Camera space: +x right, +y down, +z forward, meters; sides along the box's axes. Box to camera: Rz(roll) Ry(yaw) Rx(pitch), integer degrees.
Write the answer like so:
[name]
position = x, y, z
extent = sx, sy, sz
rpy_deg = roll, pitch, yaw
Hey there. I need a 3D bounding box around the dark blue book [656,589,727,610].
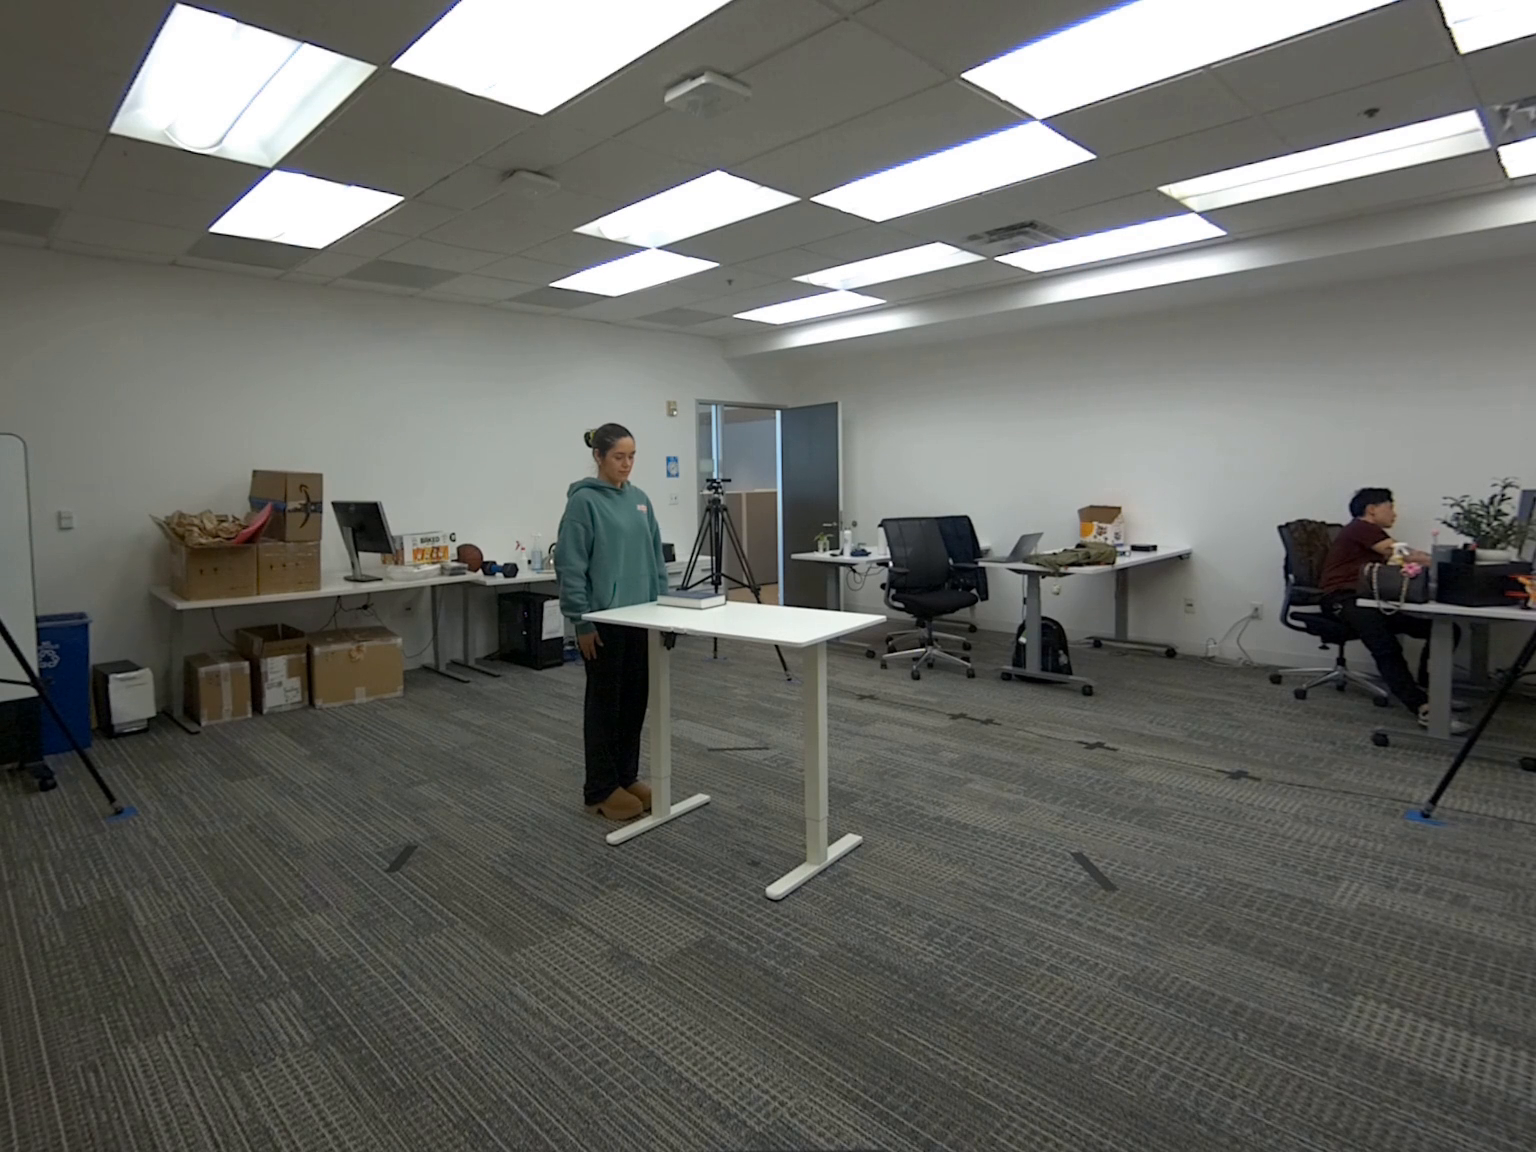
[dark blue book]
position = -0.304, 0.096, 3.513
extent = 0.252, 0.045, 0.159
rpy_deg = 4, 7, 36
